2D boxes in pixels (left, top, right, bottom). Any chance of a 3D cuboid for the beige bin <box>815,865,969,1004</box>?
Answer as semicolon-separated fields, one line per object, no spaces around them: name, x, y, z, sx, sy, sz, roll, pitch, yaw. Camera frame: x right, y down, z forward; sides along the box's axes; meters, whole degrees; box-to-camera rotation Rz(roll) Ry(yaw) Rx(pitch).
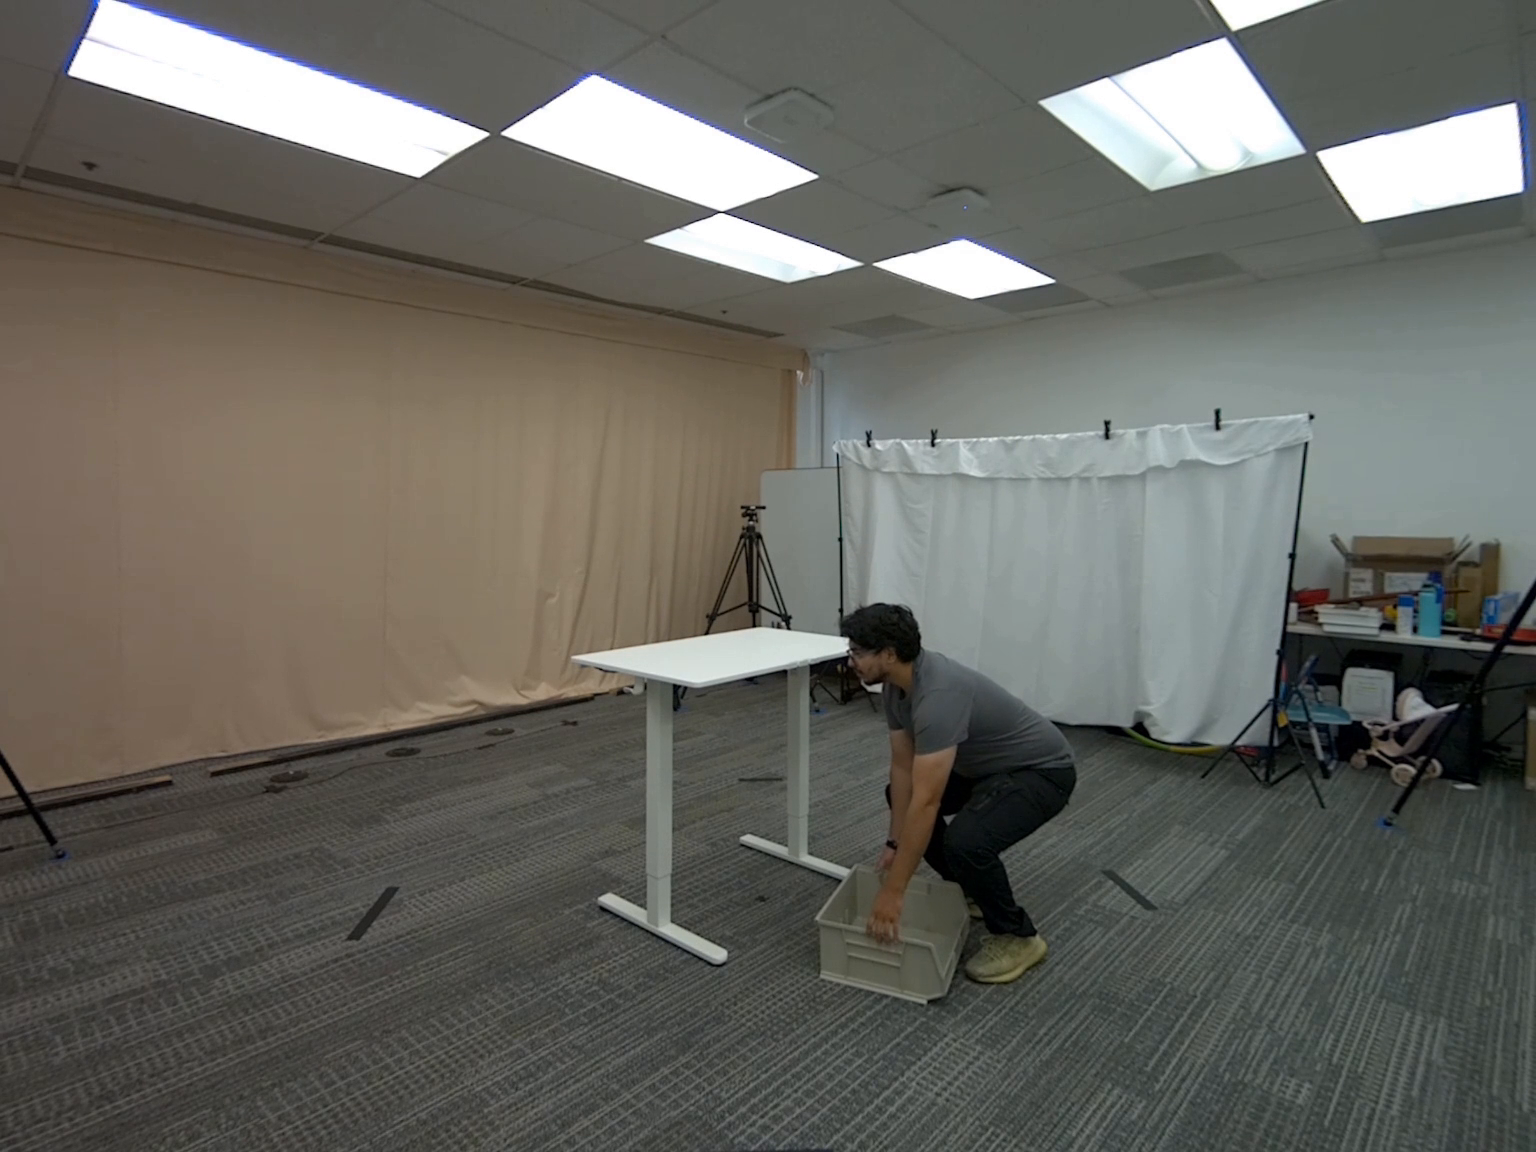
beige bin;0.406;1.093;2.582;0.386;0.188;0.414;0;6;23
